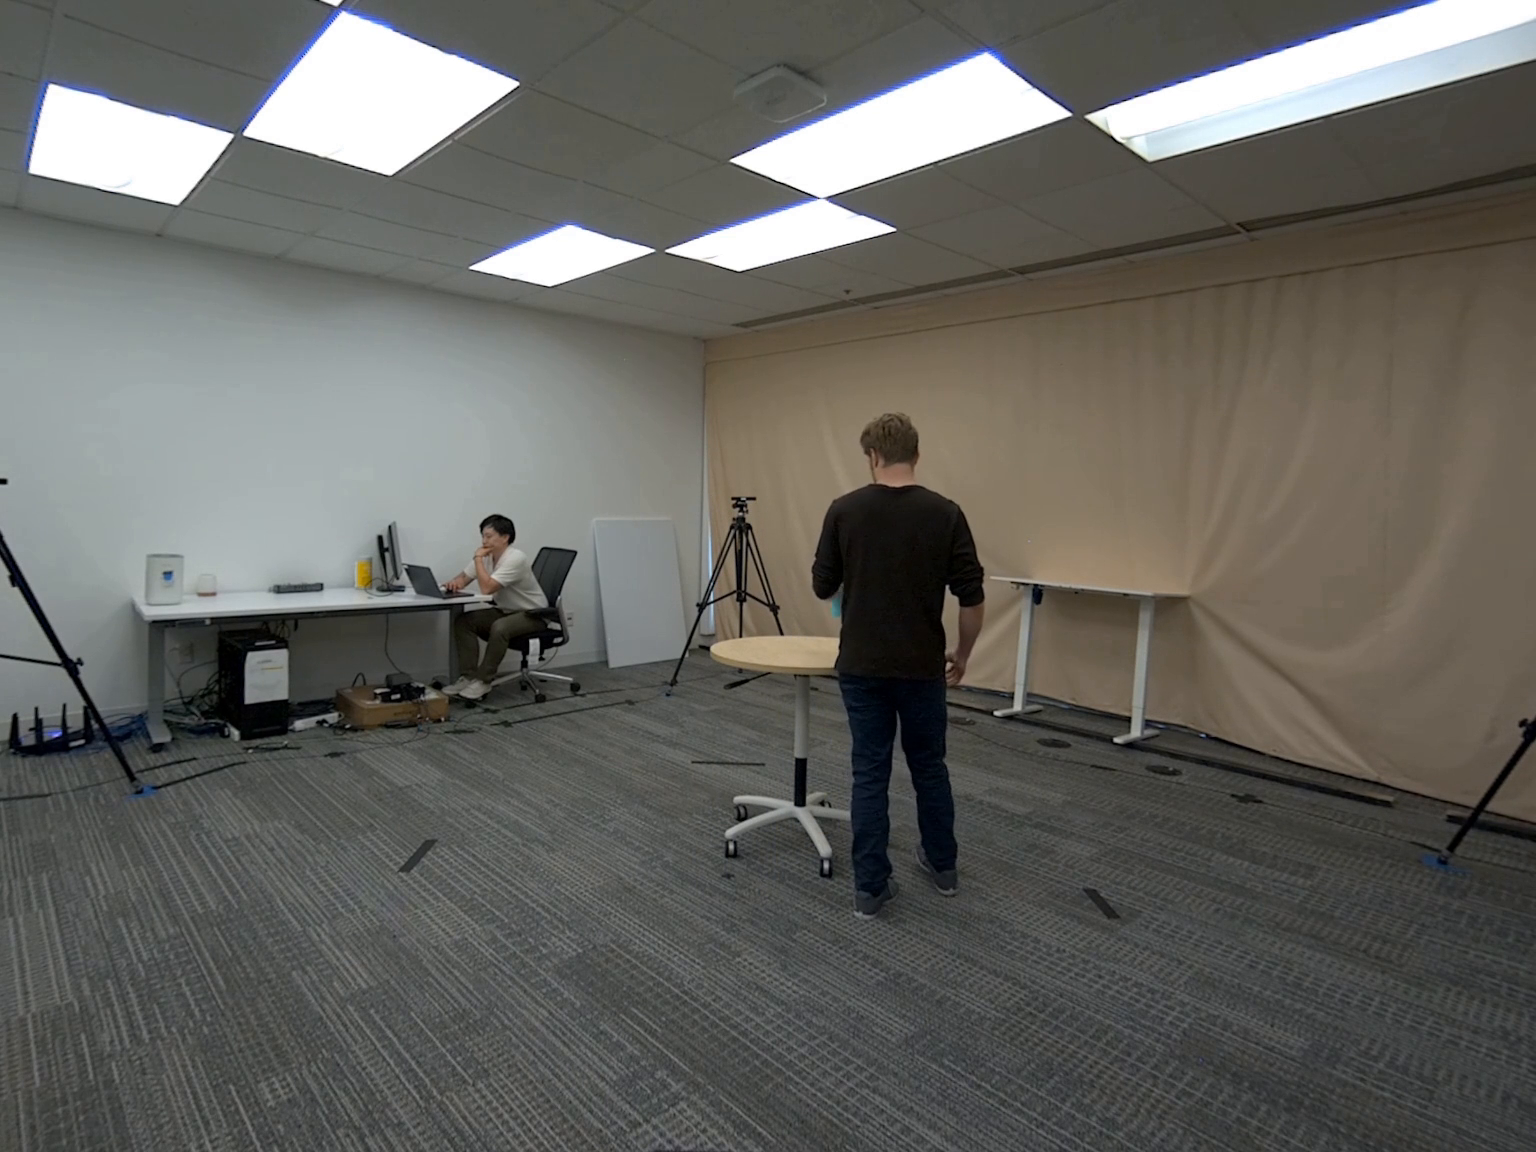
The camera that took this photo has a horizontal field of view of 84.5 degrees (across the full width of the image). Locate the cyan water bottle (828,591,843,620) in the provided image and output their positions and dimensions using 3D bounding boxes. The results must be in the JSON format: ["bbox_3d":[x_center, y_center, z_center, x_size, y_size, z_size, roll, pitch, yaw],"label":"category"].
[{"bbox_3d":[0.274,0.019,3.329,0.092,0.282,0.092,-11,4,0],"label":"cyan water bottle"}]
